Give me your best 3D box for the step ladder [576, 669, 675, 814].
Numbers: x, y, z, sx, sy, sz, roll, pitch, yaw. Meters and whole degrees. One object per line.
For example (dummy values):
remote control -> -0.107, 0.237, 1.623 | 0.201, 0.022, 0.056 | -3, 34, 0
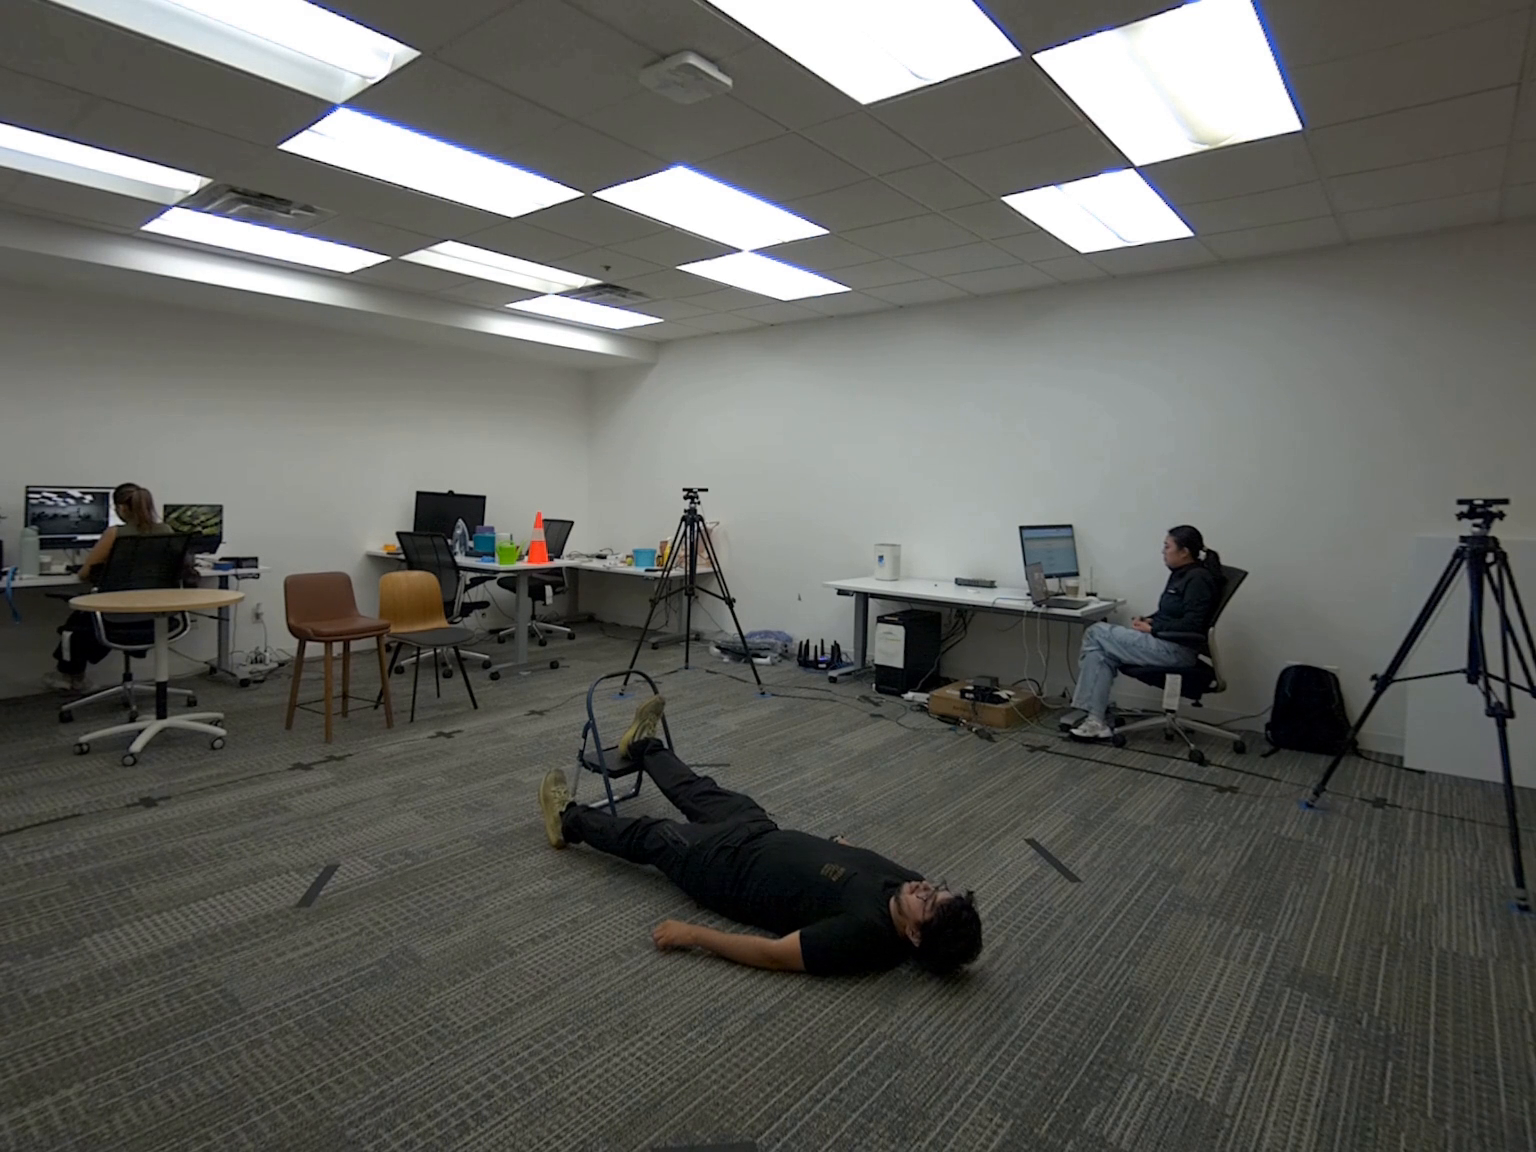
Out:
step ladder -> -0.597, 0.713, 3.601 | 0.361, 0.605, 0.418 | 3, 4, 38
